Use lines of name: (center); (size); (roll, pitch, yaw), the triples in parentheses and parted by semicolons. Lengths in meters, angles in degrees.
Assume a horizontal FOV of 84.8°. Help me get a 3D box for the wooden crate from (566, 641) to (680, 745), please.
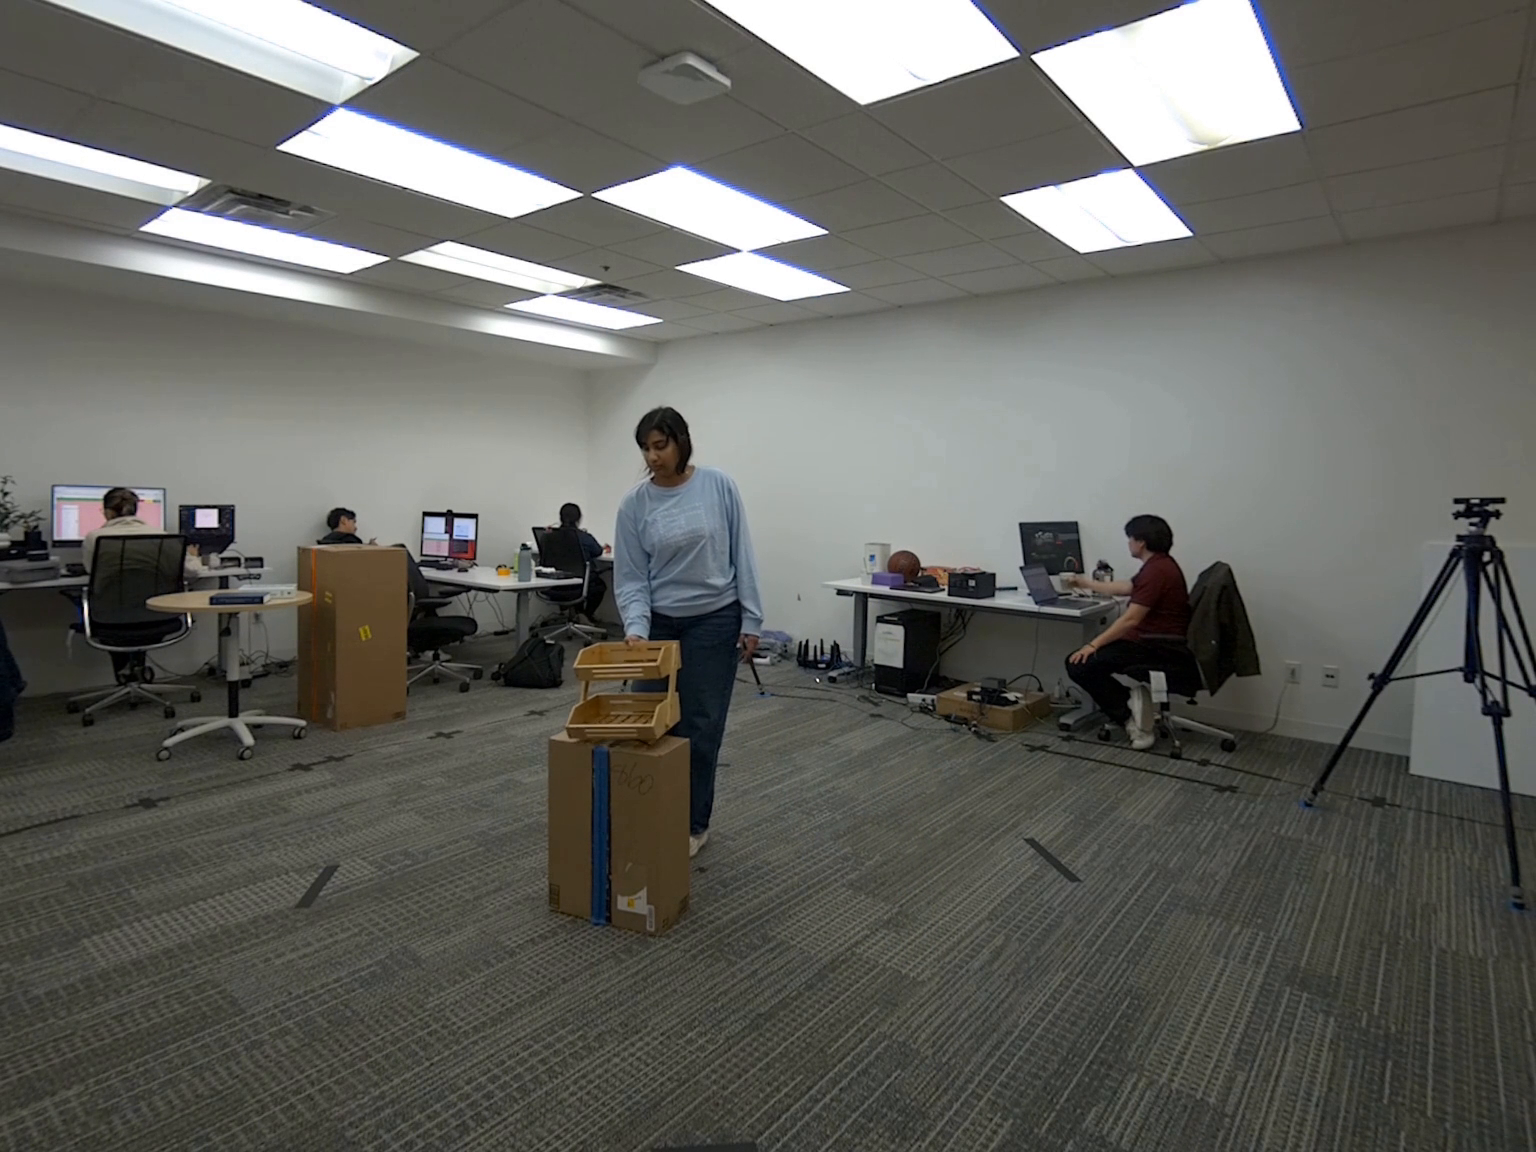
wooden crate: (-0.487, 0.363, 2.797); (0.329, 0.273, 0.298); (-3, 3, 15)
